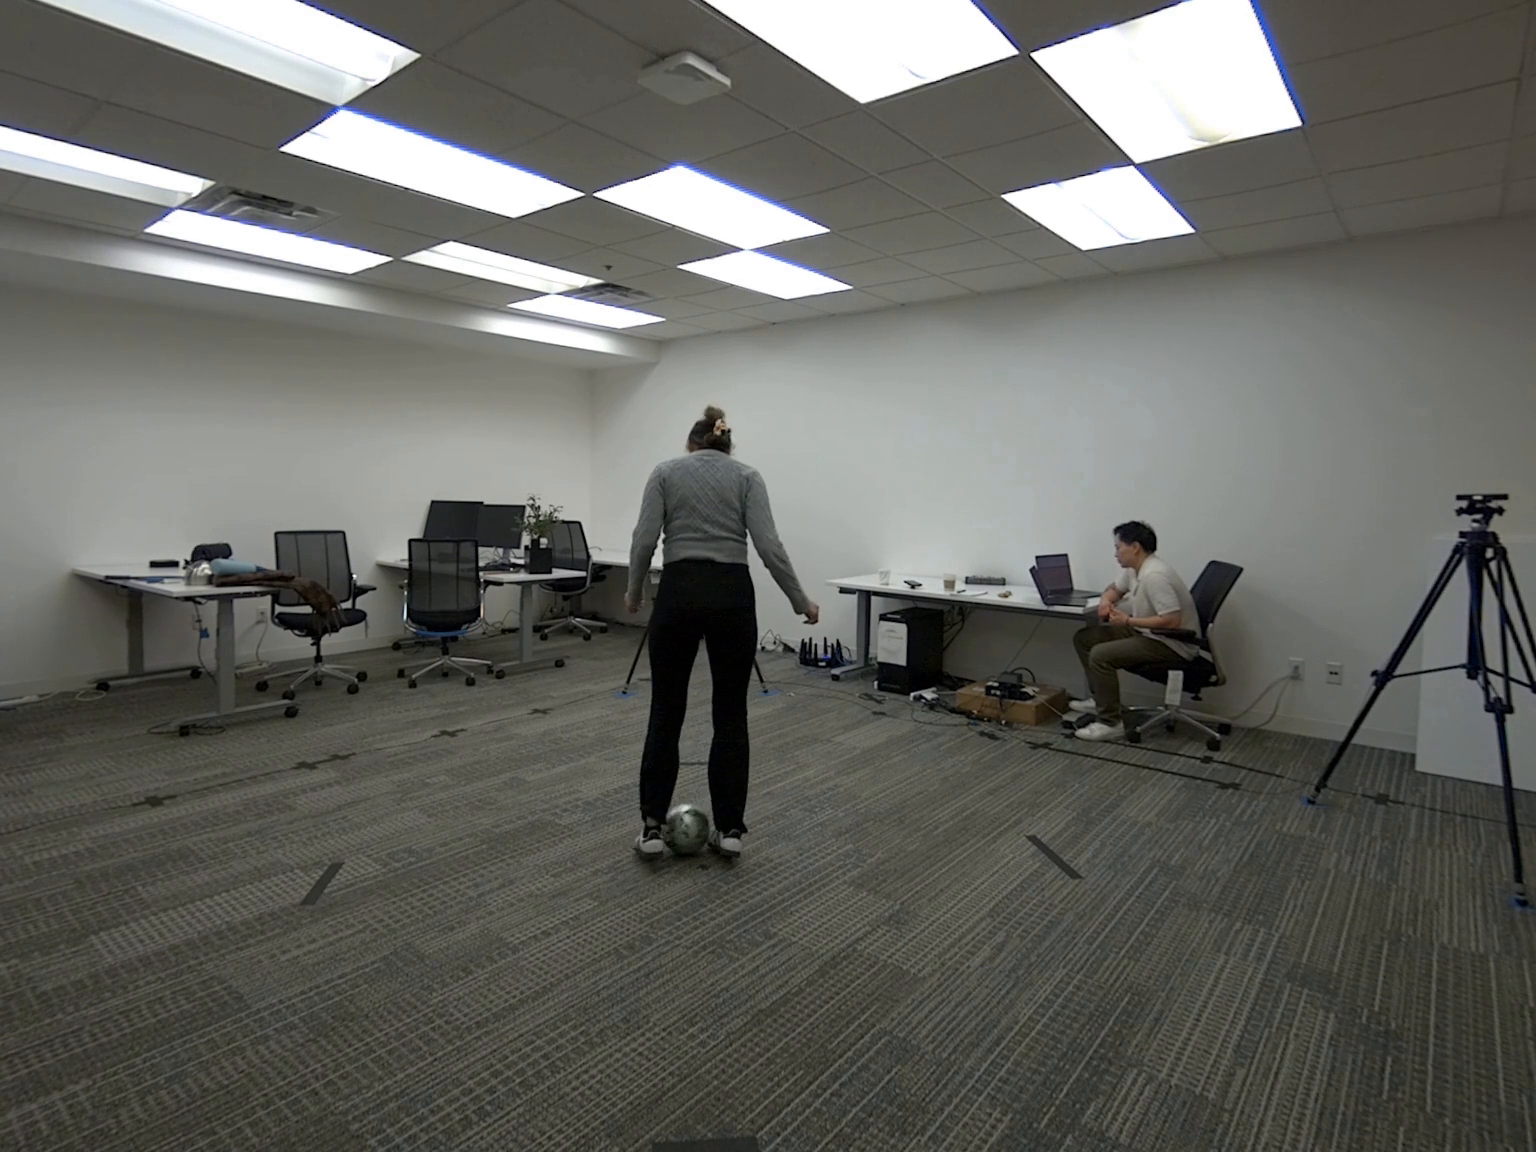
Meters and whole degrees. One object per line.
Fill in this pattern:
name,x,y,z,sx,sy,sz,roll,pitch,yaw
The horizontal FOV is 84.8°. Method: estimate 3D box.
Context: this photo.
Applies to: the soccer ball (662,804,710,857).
soccer ball,-0.311,0.957,3.240,0.187,0.187,0.188,1,4,-2
